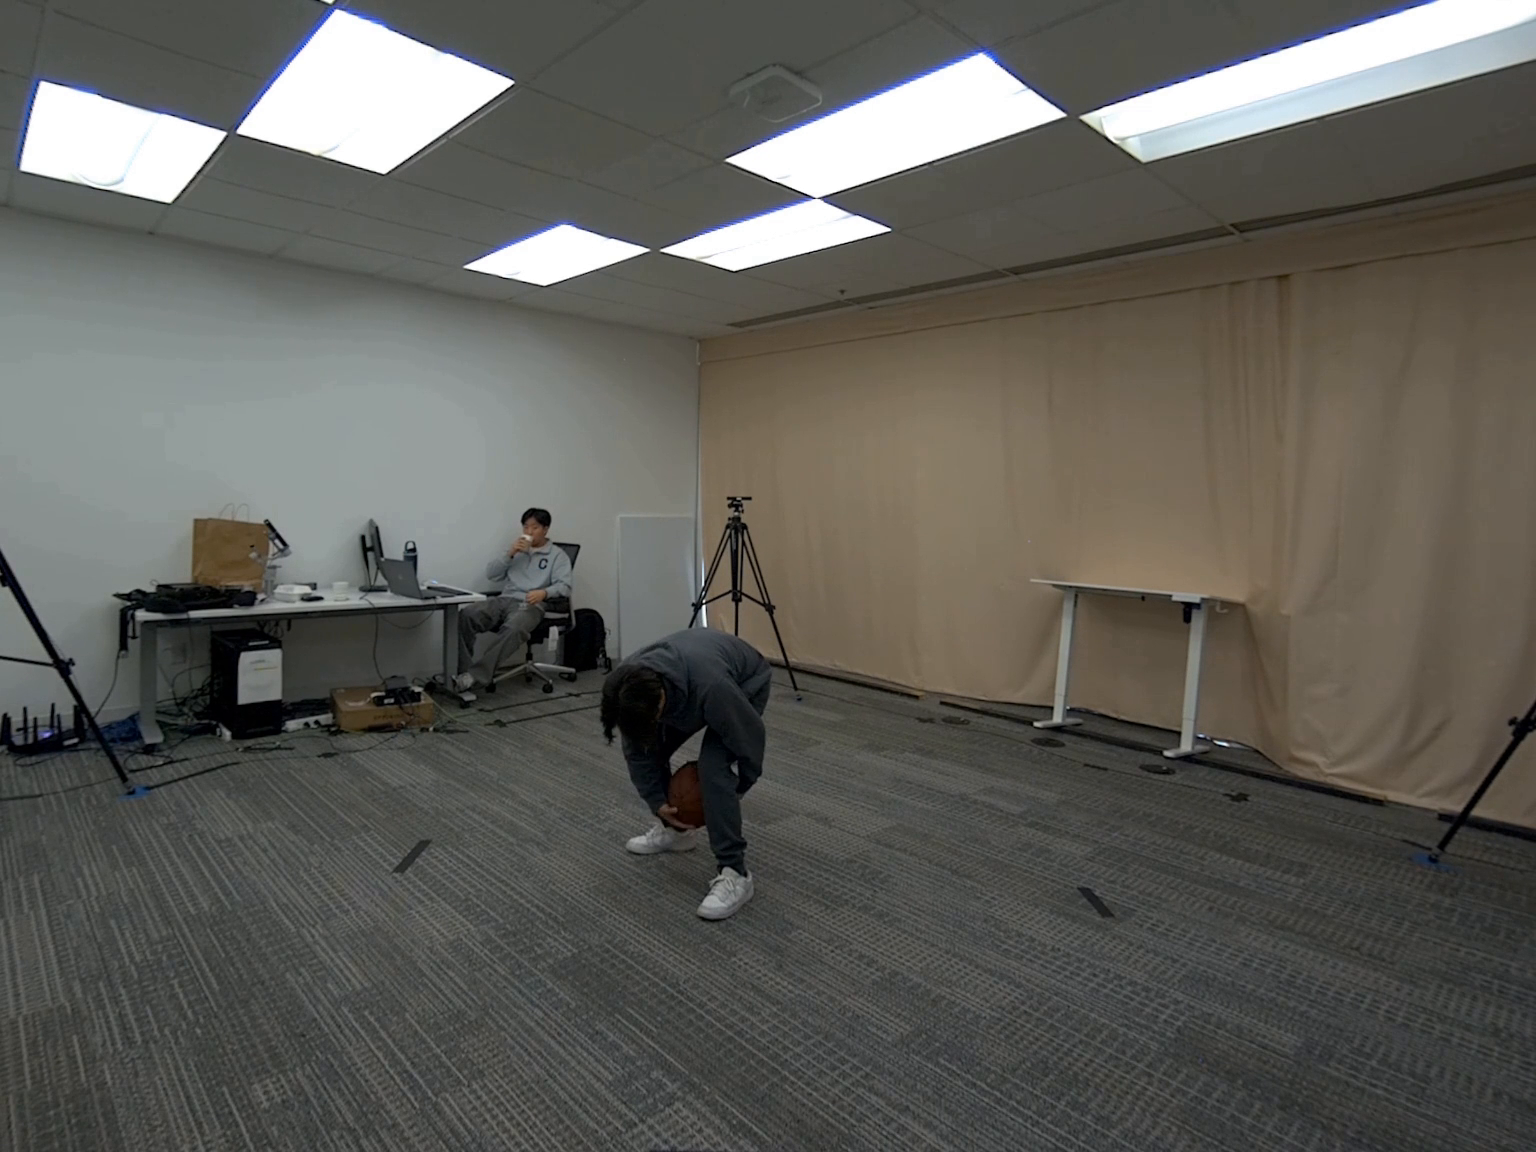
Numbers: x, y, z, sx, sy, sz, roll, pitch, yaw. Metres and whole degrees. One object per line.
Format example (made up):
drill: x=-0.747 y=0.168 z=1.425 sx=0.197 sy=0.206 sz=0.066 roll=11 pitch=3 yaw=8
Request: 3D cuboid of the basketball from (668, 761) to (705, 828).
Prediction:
basketball: x=-0.269 y=0.809 z=3.136 sx=0.236 sy=0.235 sz=0.237 roll=1 pitch=4 yaw=-1
